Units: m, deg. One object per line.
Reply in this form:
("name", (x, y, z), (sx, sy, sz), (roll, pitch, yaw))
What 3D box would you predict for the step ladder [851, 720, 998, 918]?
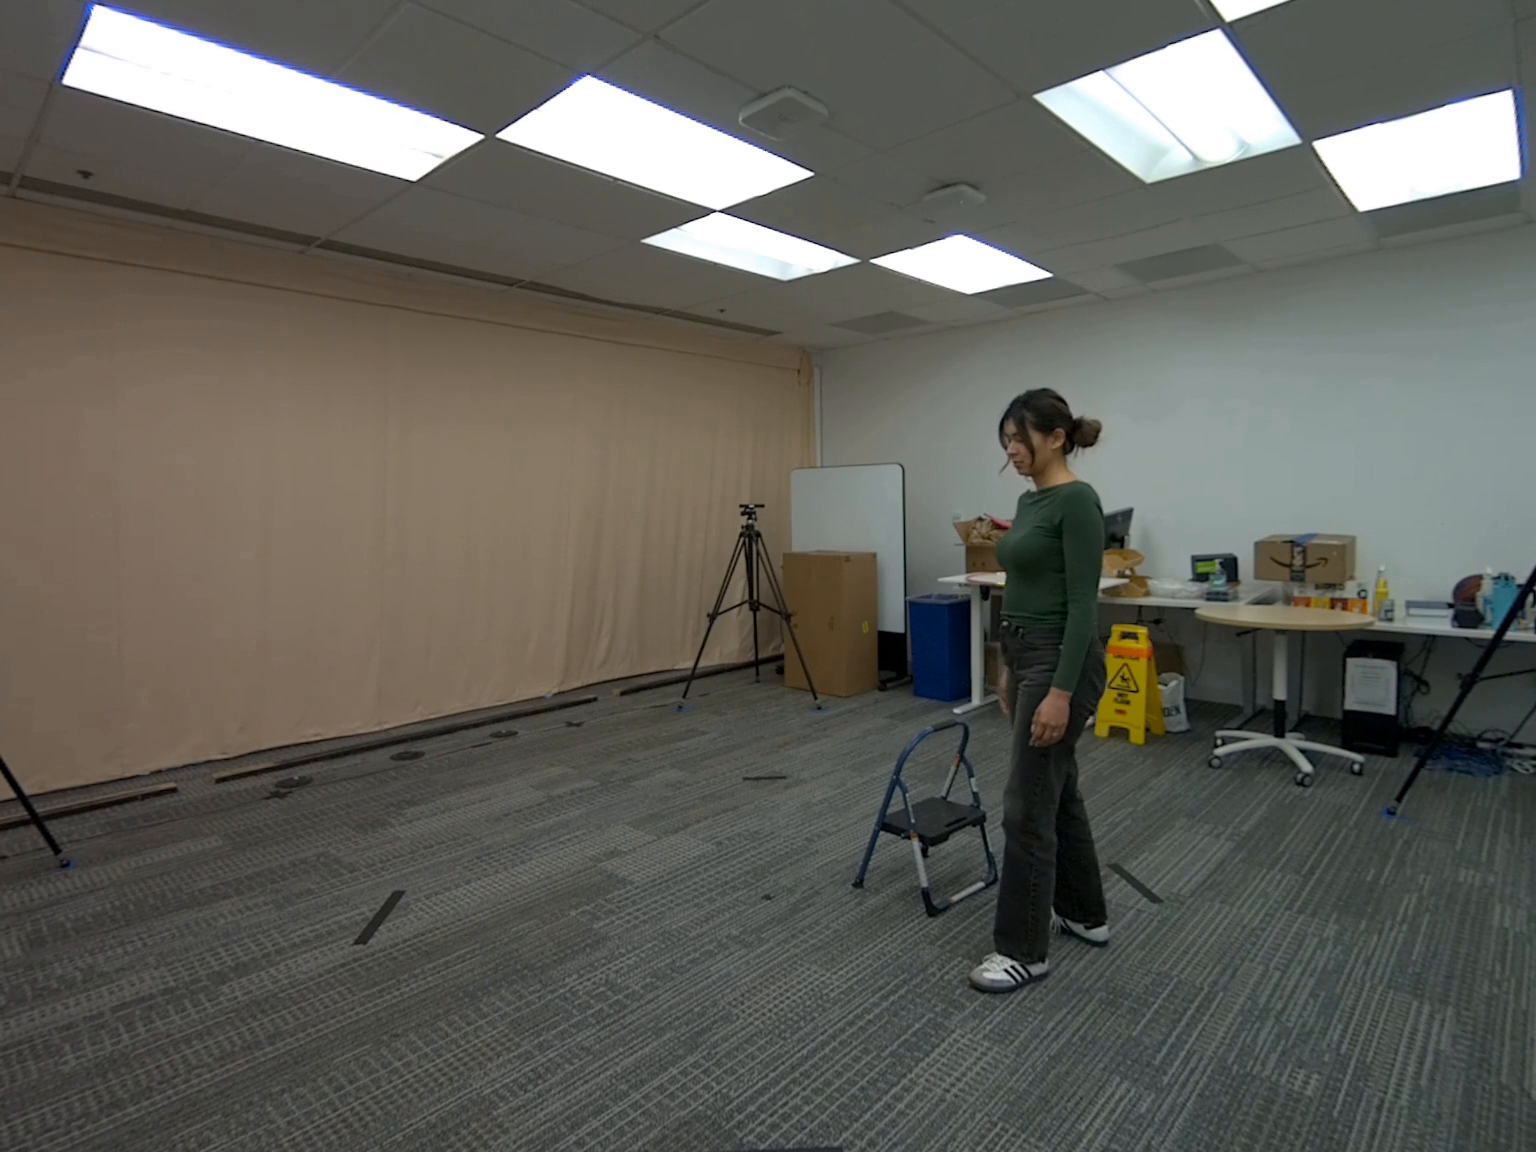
("step ladder", (0.576, 0.819, 3.054), (0.417, 0.605, 0.361), (-4, 5, -43))
